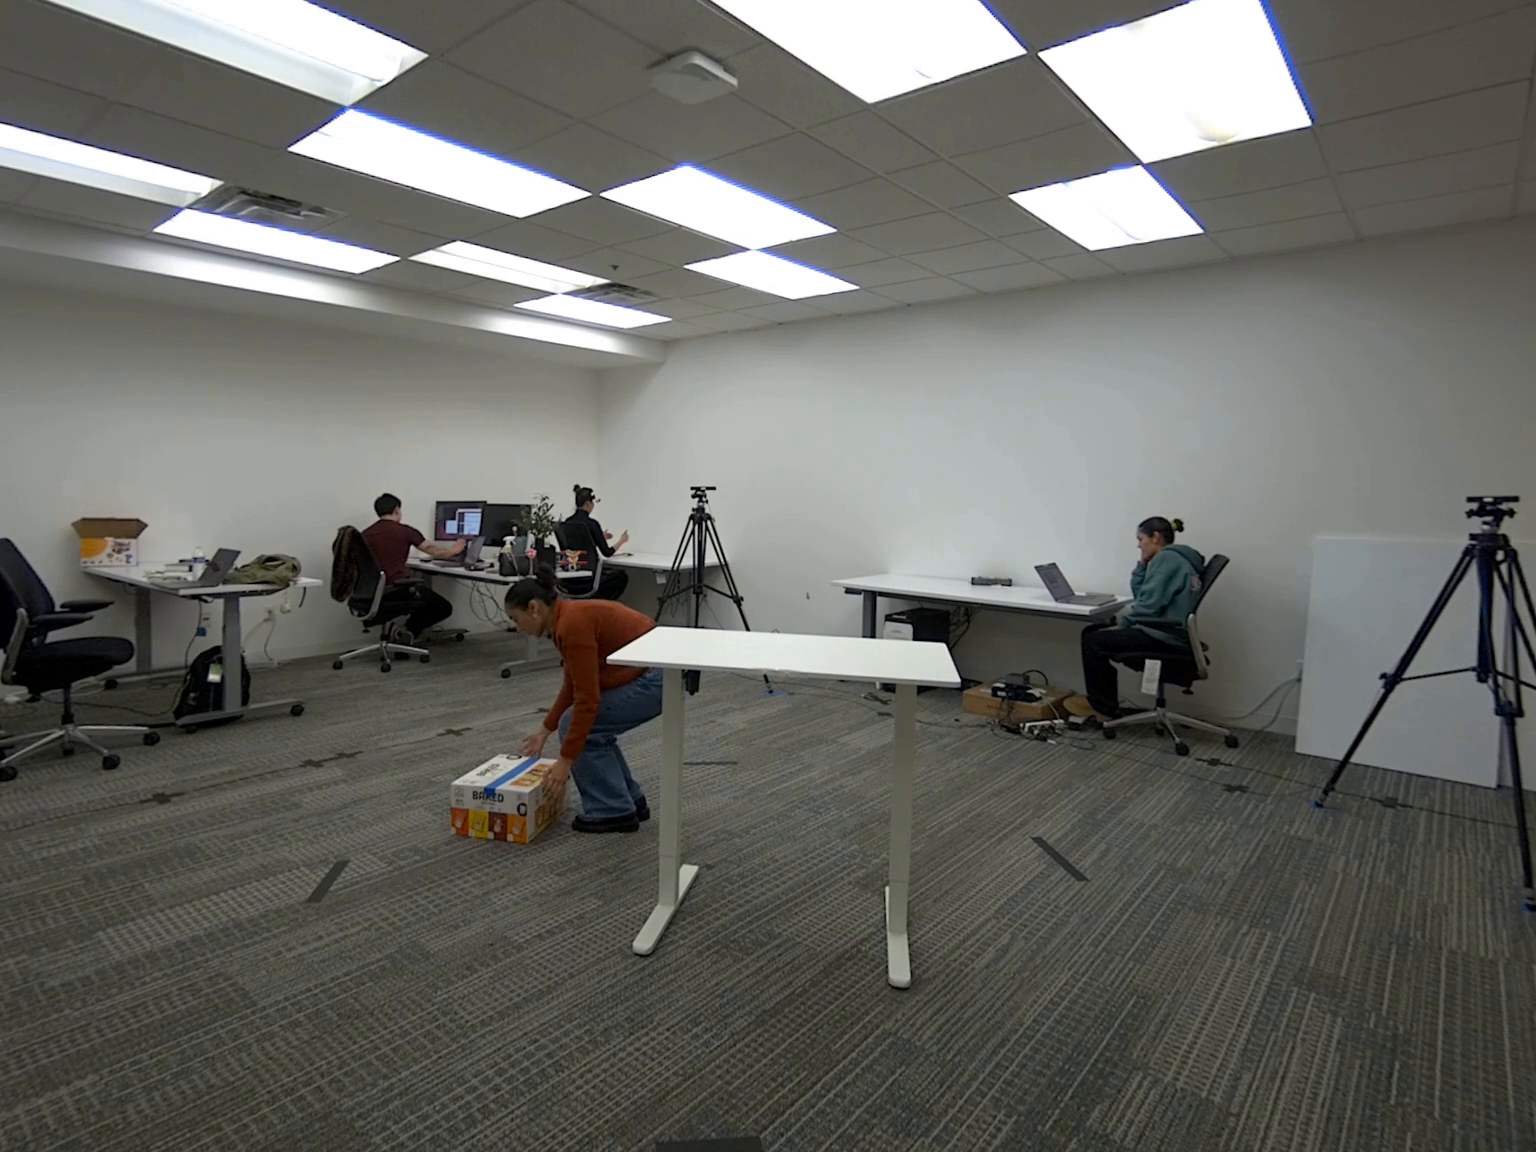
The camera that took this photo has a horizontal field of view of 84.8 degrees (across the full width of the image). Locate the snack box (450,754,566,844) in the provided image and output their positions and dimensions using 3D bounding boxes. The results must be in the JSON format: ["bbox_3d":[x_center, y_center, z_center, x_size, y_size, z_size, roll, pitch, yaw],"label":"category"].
[{"bbox_3d":[-1.071,0.908,3.521,0.345,0.205,0.401,2,5,12],"label":"snack box"}]
